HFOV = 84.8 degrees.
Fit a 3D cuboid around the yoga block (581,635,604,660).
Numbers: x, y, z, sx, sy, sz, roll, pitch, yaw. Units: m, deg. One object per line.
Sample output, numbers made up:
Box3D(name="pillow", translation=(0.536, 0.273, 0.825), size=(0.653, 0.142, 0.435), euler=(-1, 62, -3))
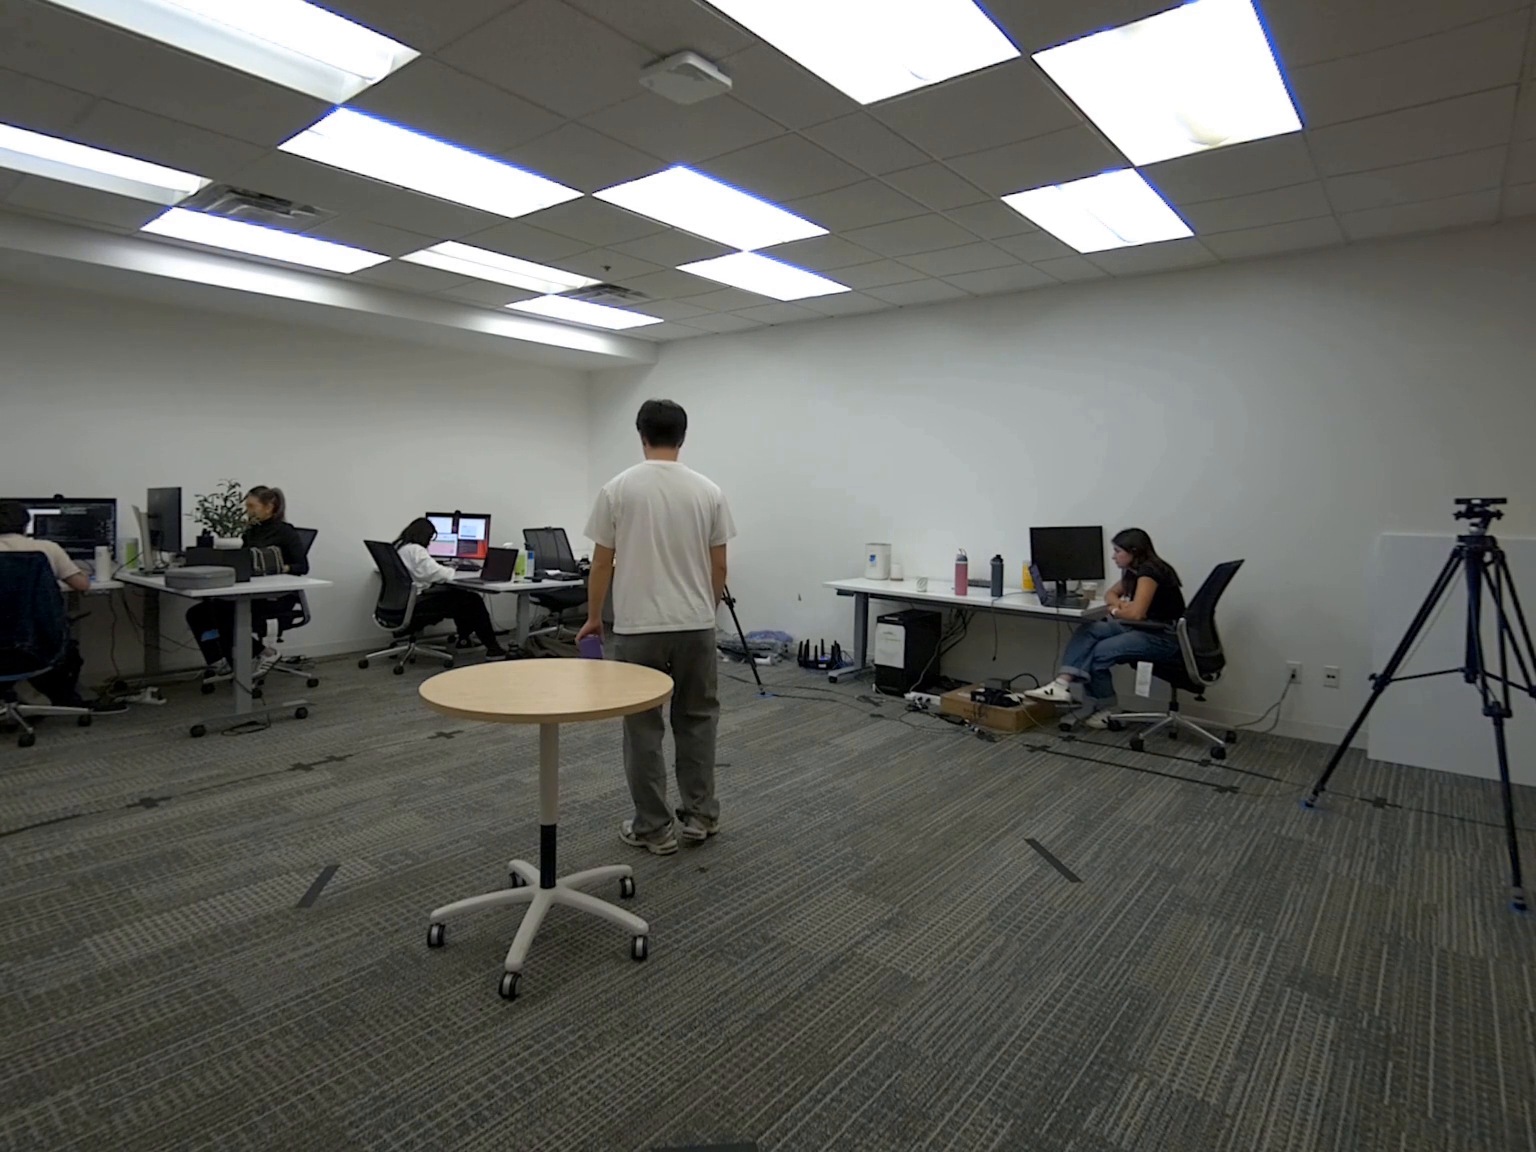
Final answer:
Box3D(name="yoga block", translation=(-0.671, 0.350, 3.459), size=(0.076, 0.230, 0.149), euler=(-12, -2, -9))
